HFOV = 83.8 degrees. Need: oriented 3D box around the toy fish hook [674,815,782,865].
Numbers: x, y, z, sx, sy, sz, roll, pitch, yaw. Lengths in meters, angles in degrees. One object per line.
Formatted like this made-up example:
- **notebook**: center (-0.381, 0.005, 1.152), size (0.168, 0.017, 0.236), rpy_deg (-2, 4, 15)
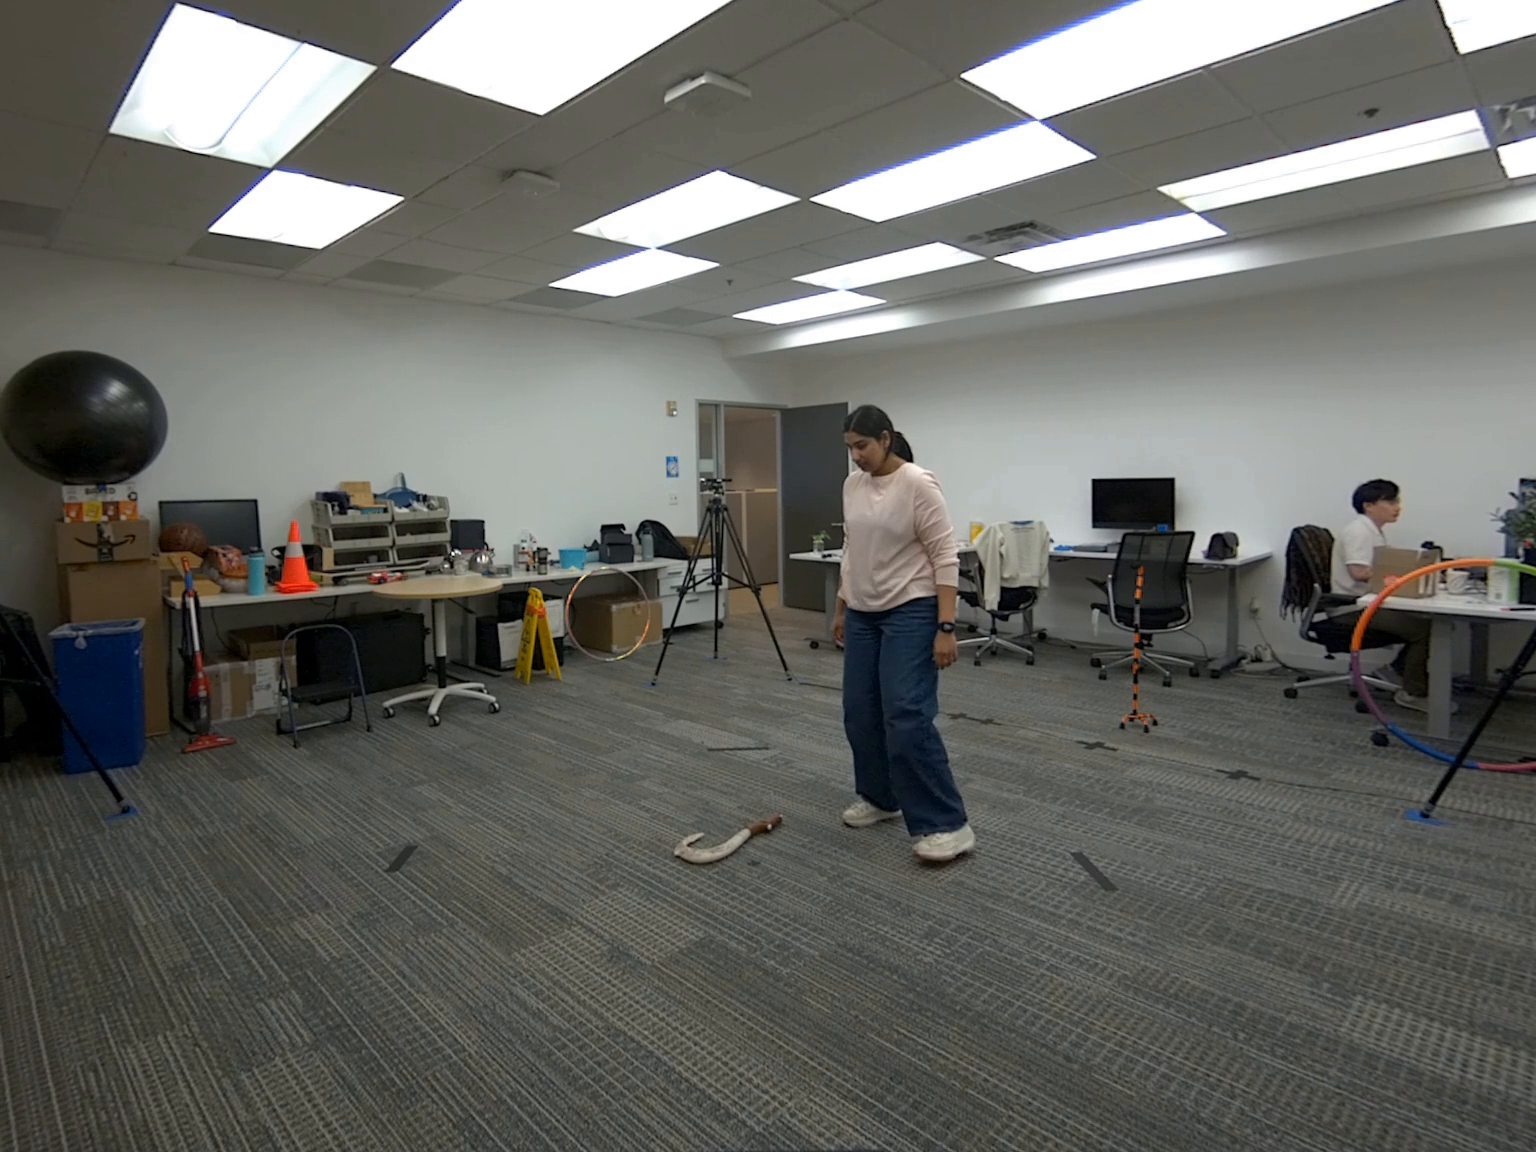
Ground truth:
- **toy fish hook**: center (-0.151, 1.002, 3.310), size (0.232, 0.048, 0.493), rpy_deg (7, 9, 41)
